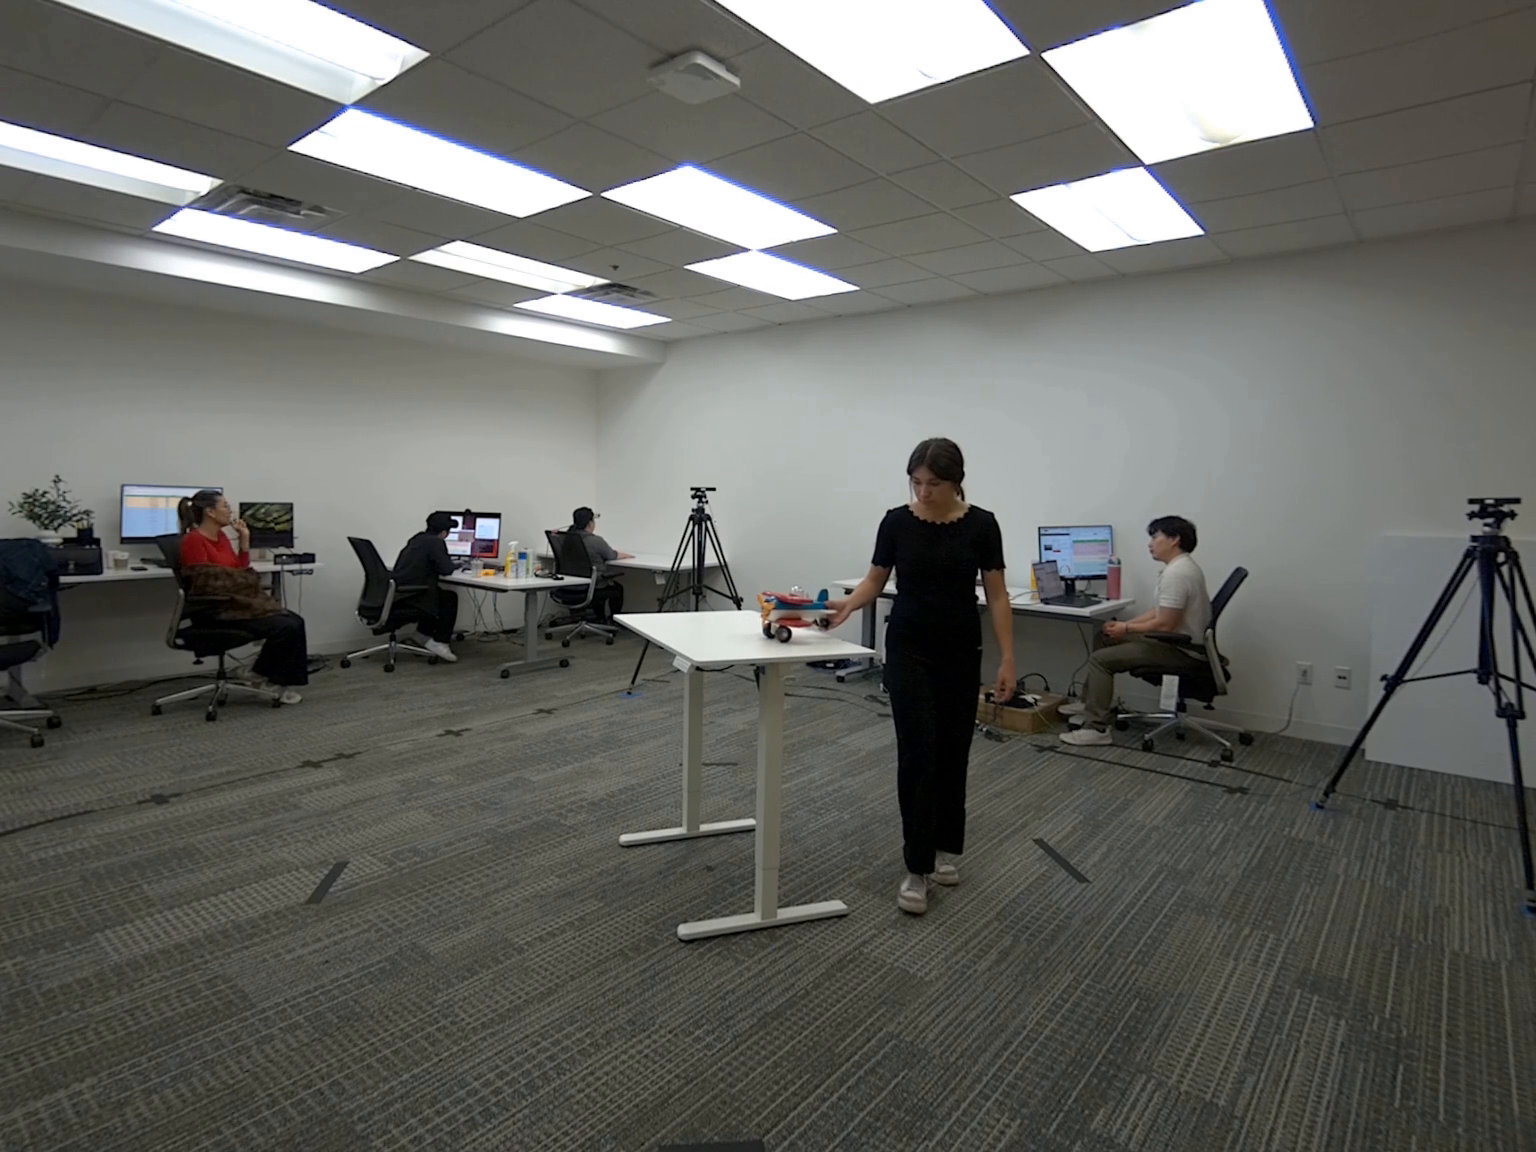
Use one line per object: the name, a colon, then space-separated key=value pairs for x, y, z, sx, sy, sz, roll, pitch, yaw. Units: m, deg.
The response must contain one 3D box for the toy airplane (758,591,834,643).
toy airplane: x=0.074 y=0.118 z=2.891 sx=0.258 sy=0.155 sz=0.255 roll=-2 pitch=13 yaw=35
